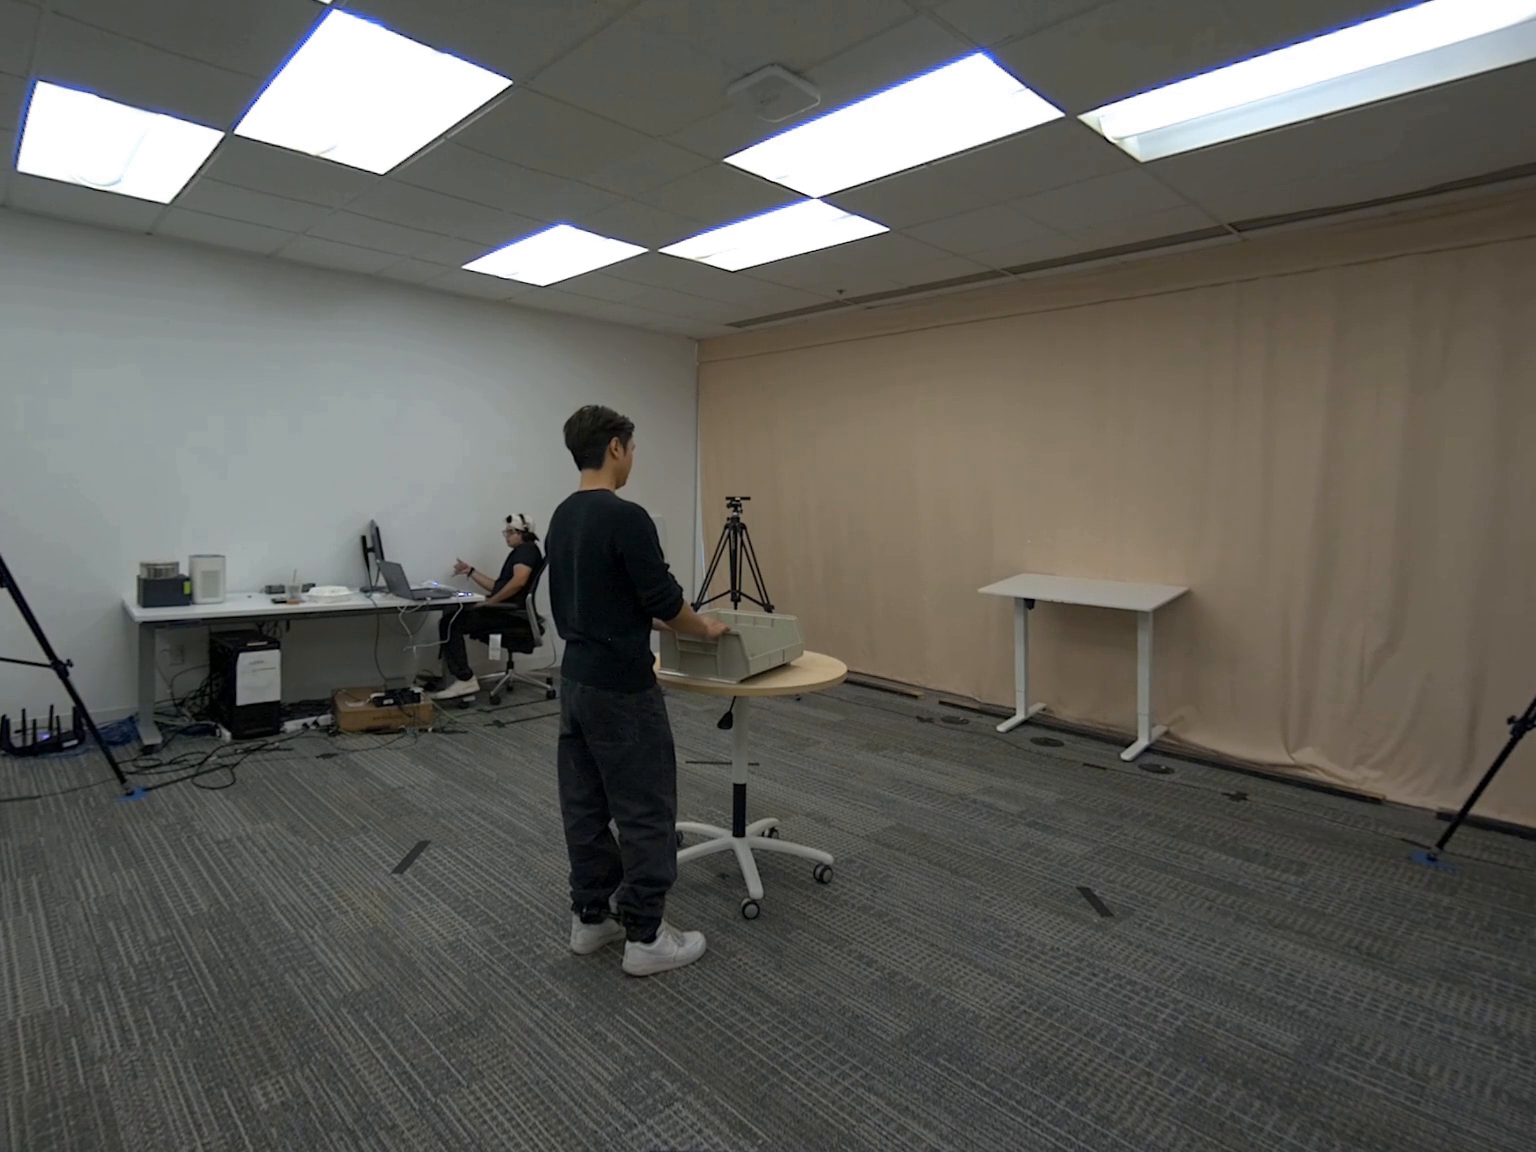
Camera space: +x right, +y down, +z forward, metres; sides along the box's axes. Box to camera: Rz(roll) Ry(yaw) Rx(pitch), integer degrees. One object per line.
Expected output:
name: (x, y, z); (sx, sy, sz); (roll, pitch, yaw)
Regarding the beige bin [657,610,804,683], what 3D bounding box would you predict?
beige bin: (-0.136, 0.243, 2.989); (0.385, 0.188, 0.415); (2, 5, 28)
